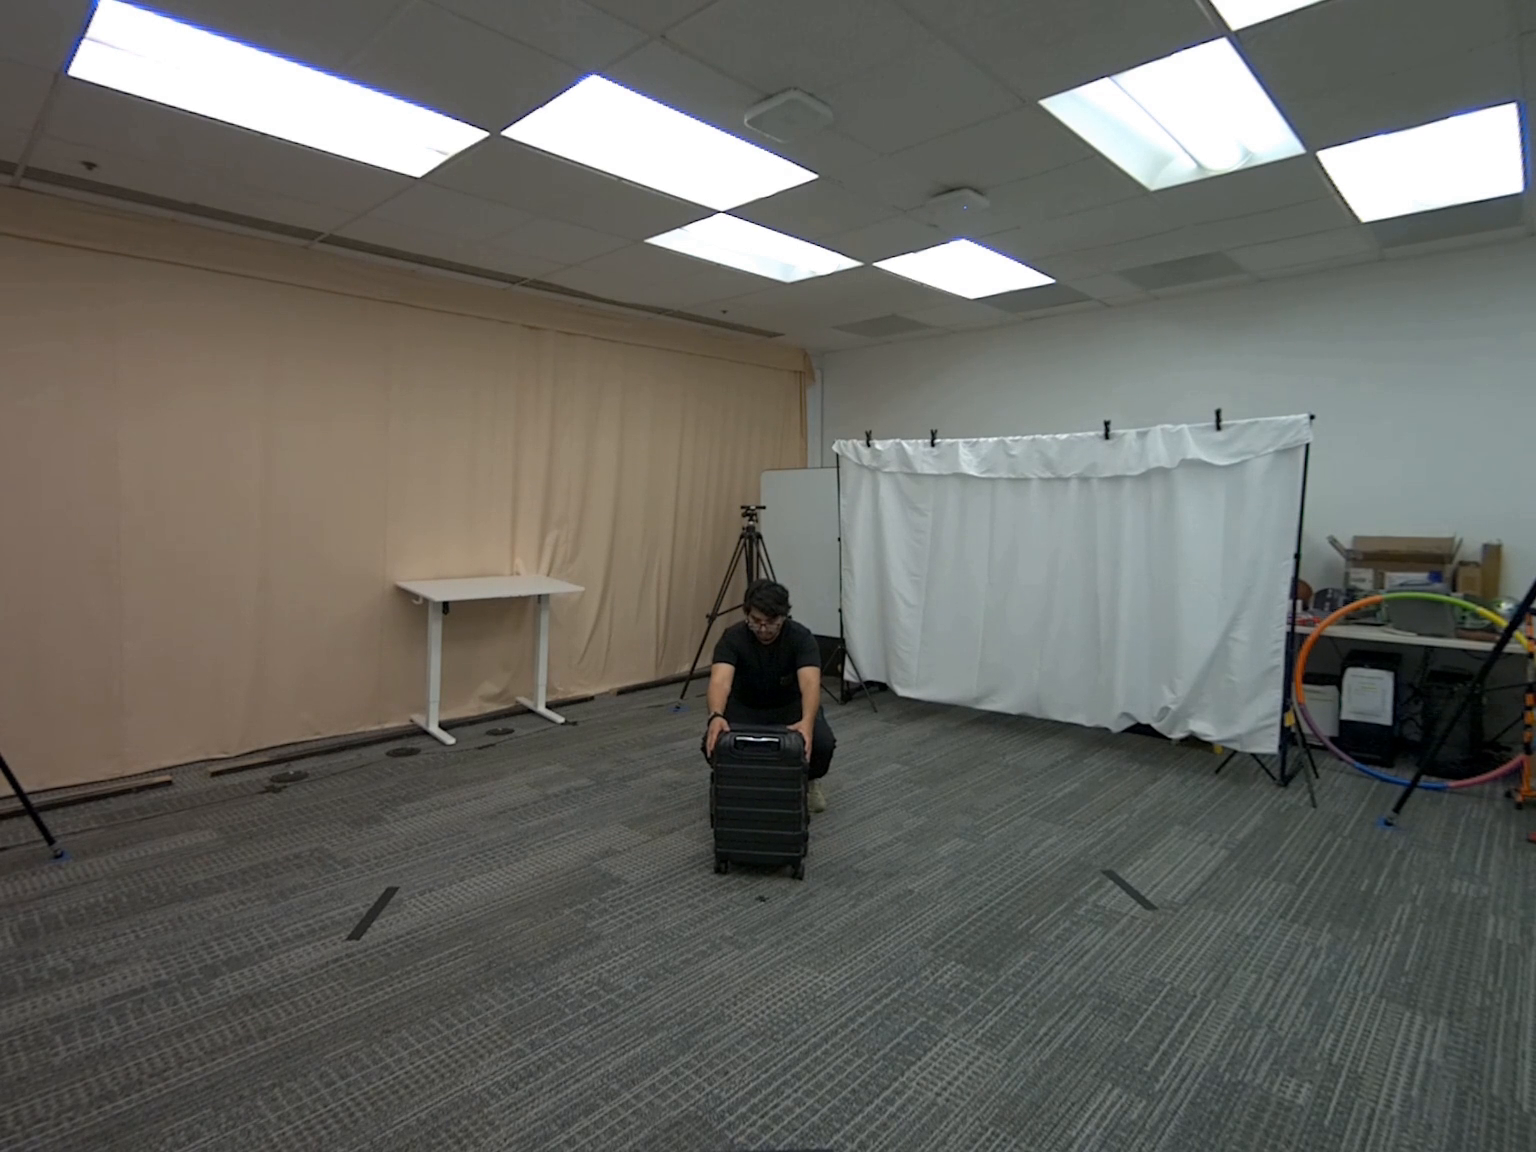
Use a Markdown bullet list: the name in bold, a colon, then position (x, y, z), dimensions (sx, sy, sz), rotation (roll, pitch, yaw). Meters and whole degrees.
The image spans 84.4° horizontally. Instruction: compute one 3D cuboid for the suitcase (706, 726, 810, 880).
- **suitcase**: position (-0.034, 0.845, 3.244), dimensions (0.379, 0.547, 0.247), rotation (-1, 5, 7)
